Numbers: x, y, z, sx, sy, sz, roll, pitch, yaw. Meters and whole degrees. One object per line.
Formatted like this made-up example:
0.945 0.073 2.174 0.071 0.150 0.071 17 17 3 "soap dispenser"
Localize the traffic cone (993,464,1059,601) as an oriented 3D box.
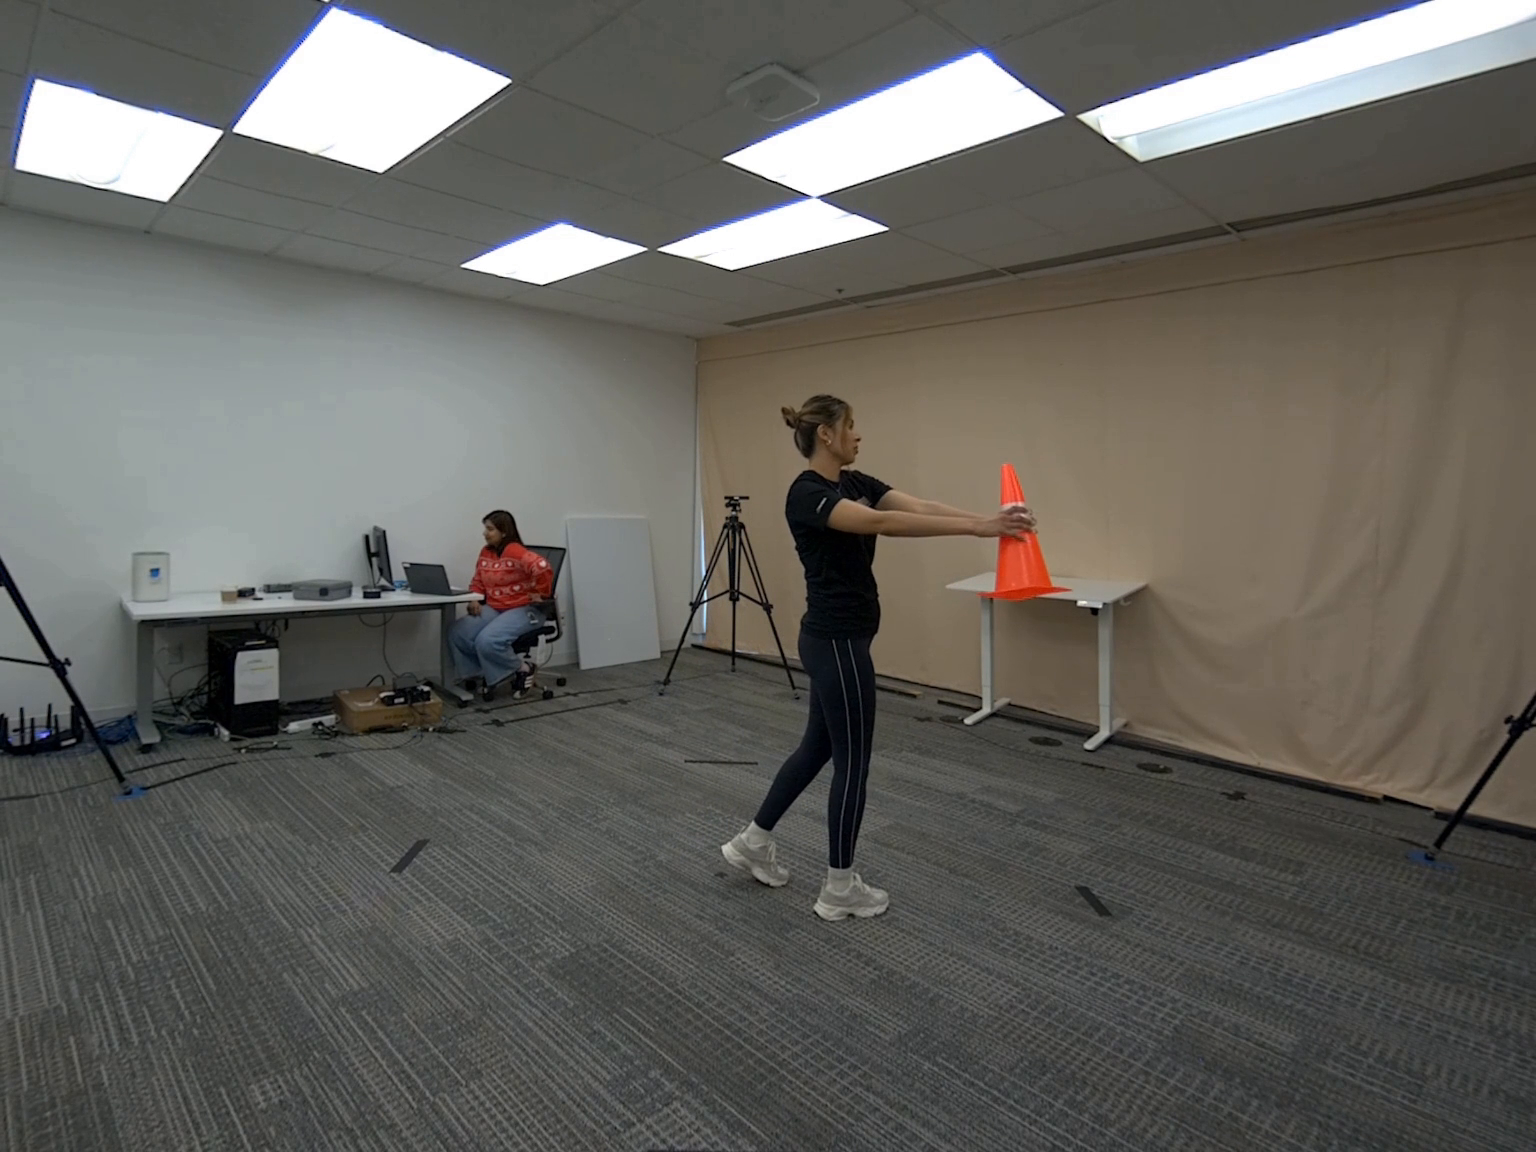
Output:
0.713 -0.133 2.432 0.208 0.387 0.198 -11 -13 27 "traffic cone"
